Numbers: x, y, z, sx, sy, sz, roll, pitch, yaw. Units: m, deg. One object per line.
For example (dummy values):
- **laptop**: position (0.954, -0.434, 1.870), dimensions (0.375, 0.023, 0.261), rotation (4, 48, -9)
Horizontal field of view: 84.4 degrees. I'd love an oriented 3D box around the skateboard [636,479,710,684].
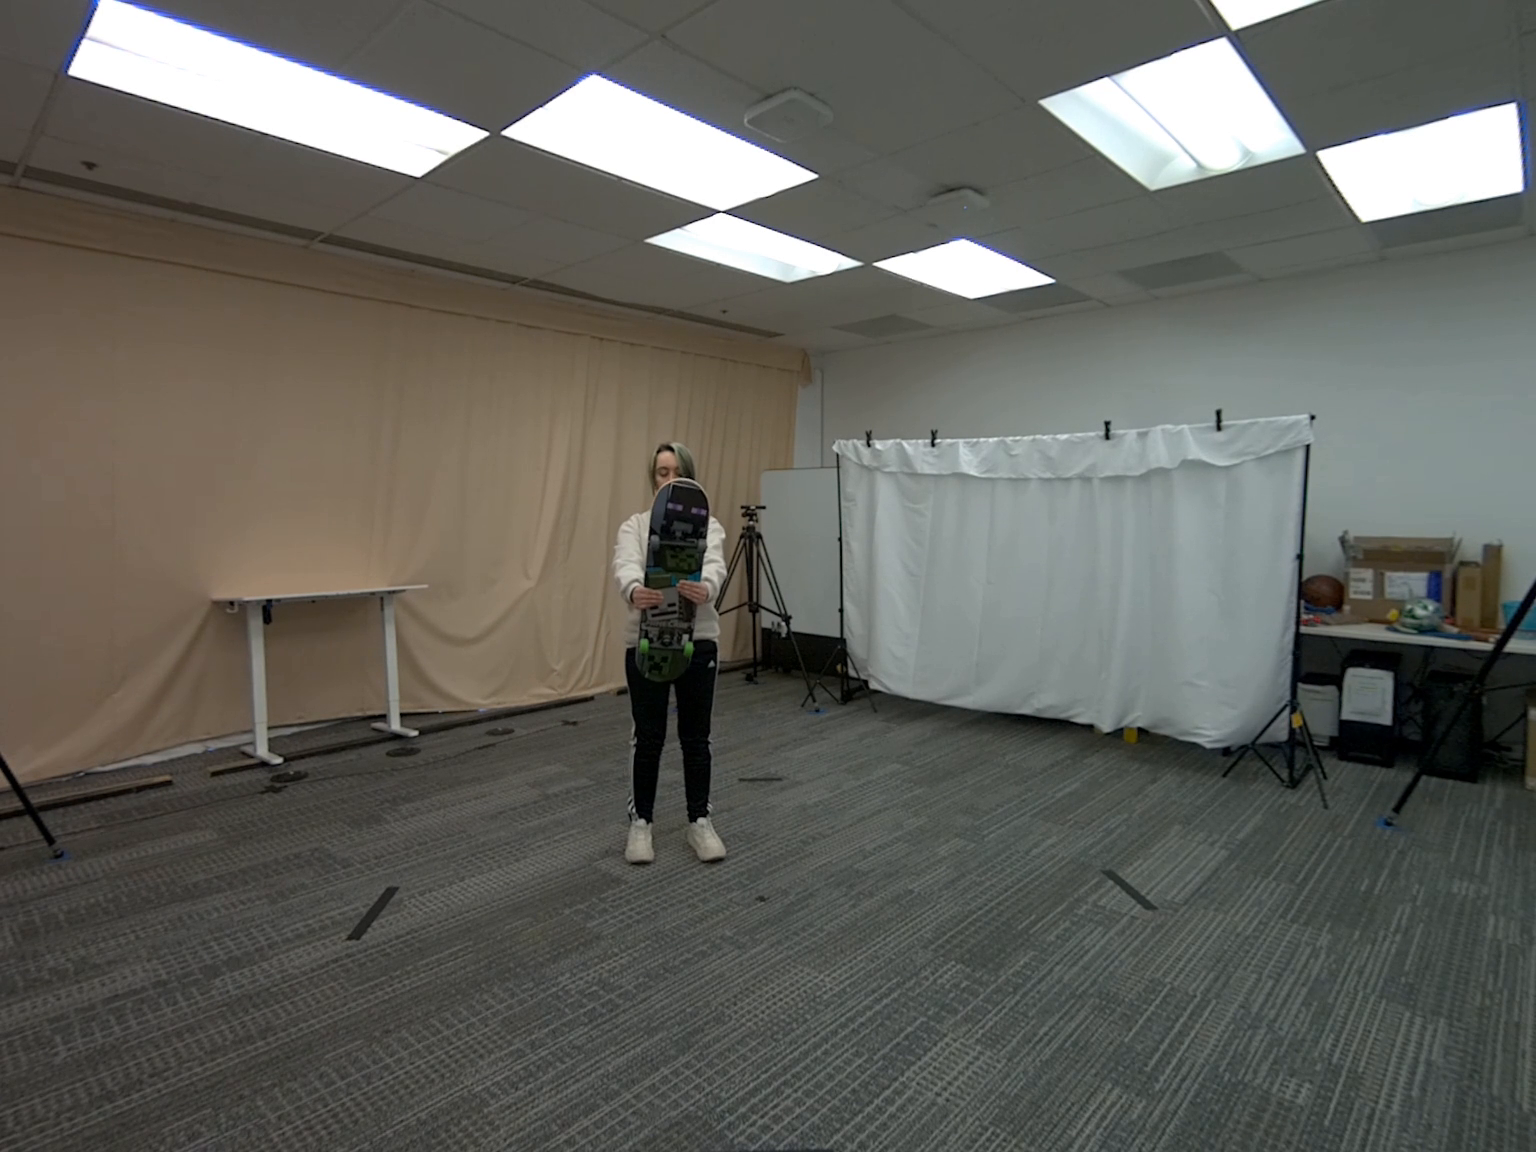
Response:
- **skateboard**: position (-0.319, 0.066, 2.832), dimensions (0.191, 0.777, 0.112), rotation (6, 28, -10)
